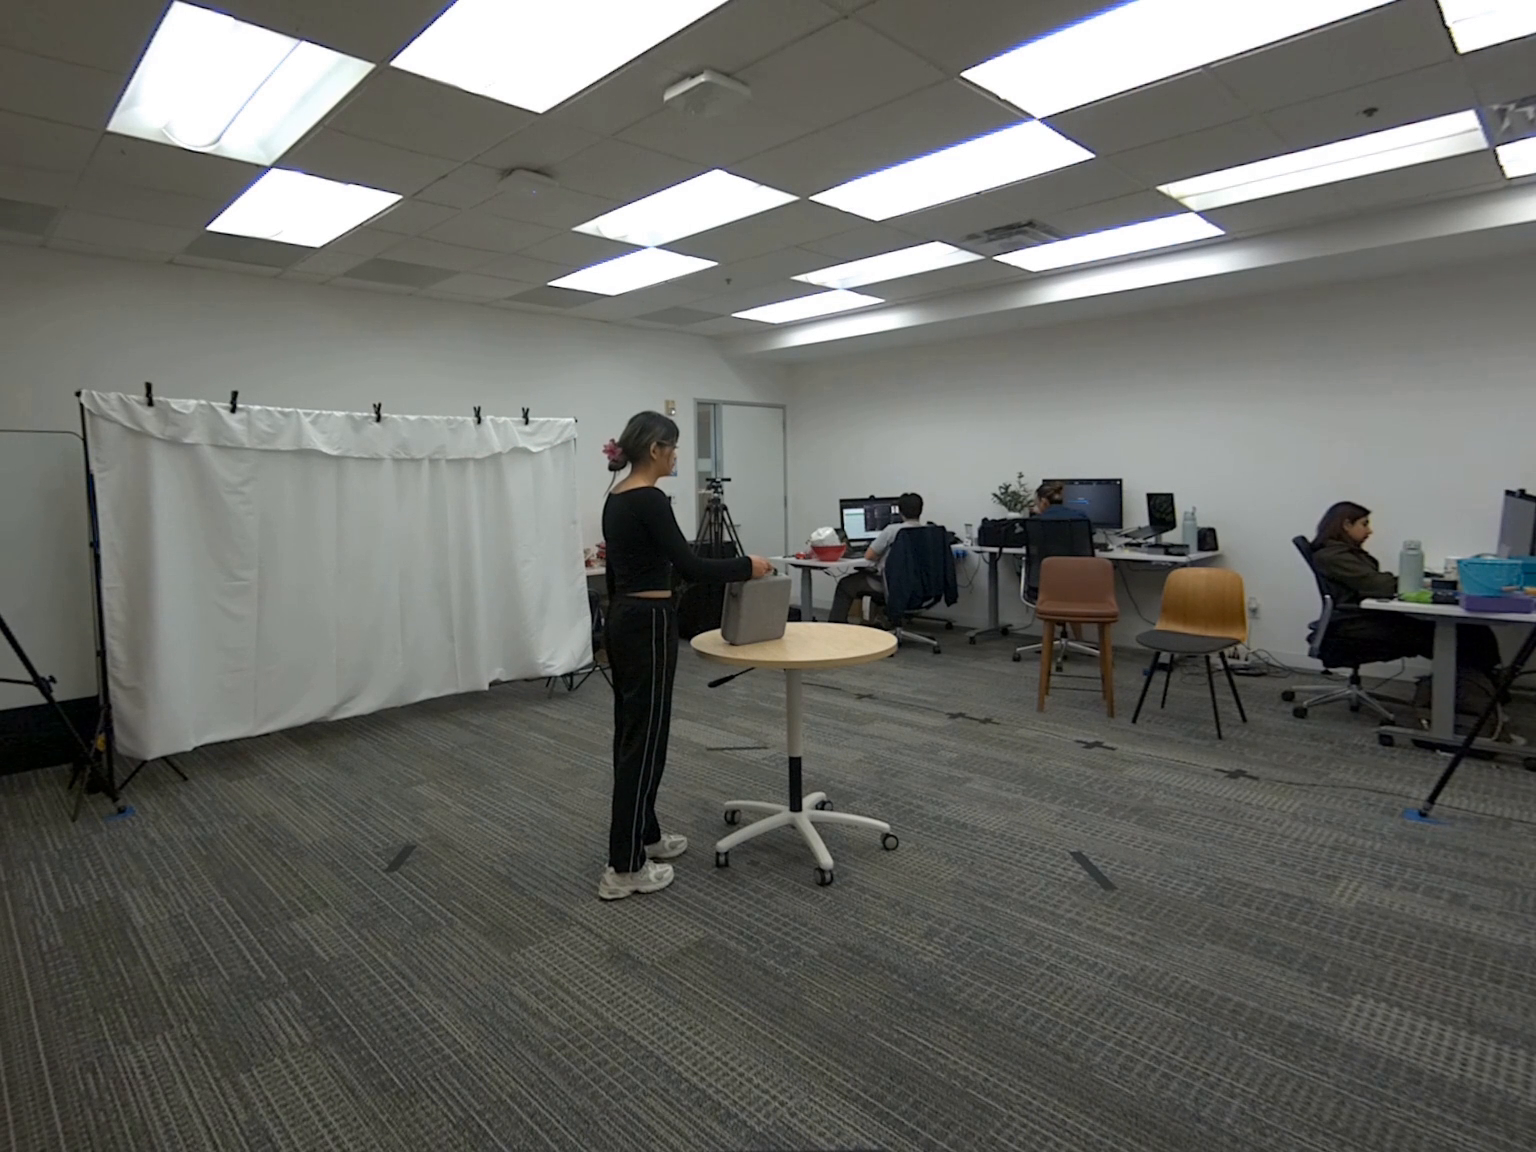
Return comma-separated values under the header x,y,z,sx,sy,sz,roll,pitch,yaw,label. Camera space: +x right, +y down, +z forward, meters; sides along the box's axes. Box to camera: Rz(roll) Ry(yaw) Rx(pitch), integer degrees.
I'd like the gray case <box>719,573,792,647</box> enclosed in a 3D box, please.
x,y,z,sx,sy,sz,roll,pitch,yaw,label
-0.041,0.113,3.155,0.250,0.258,0.108,-5,17,-37,gray case
